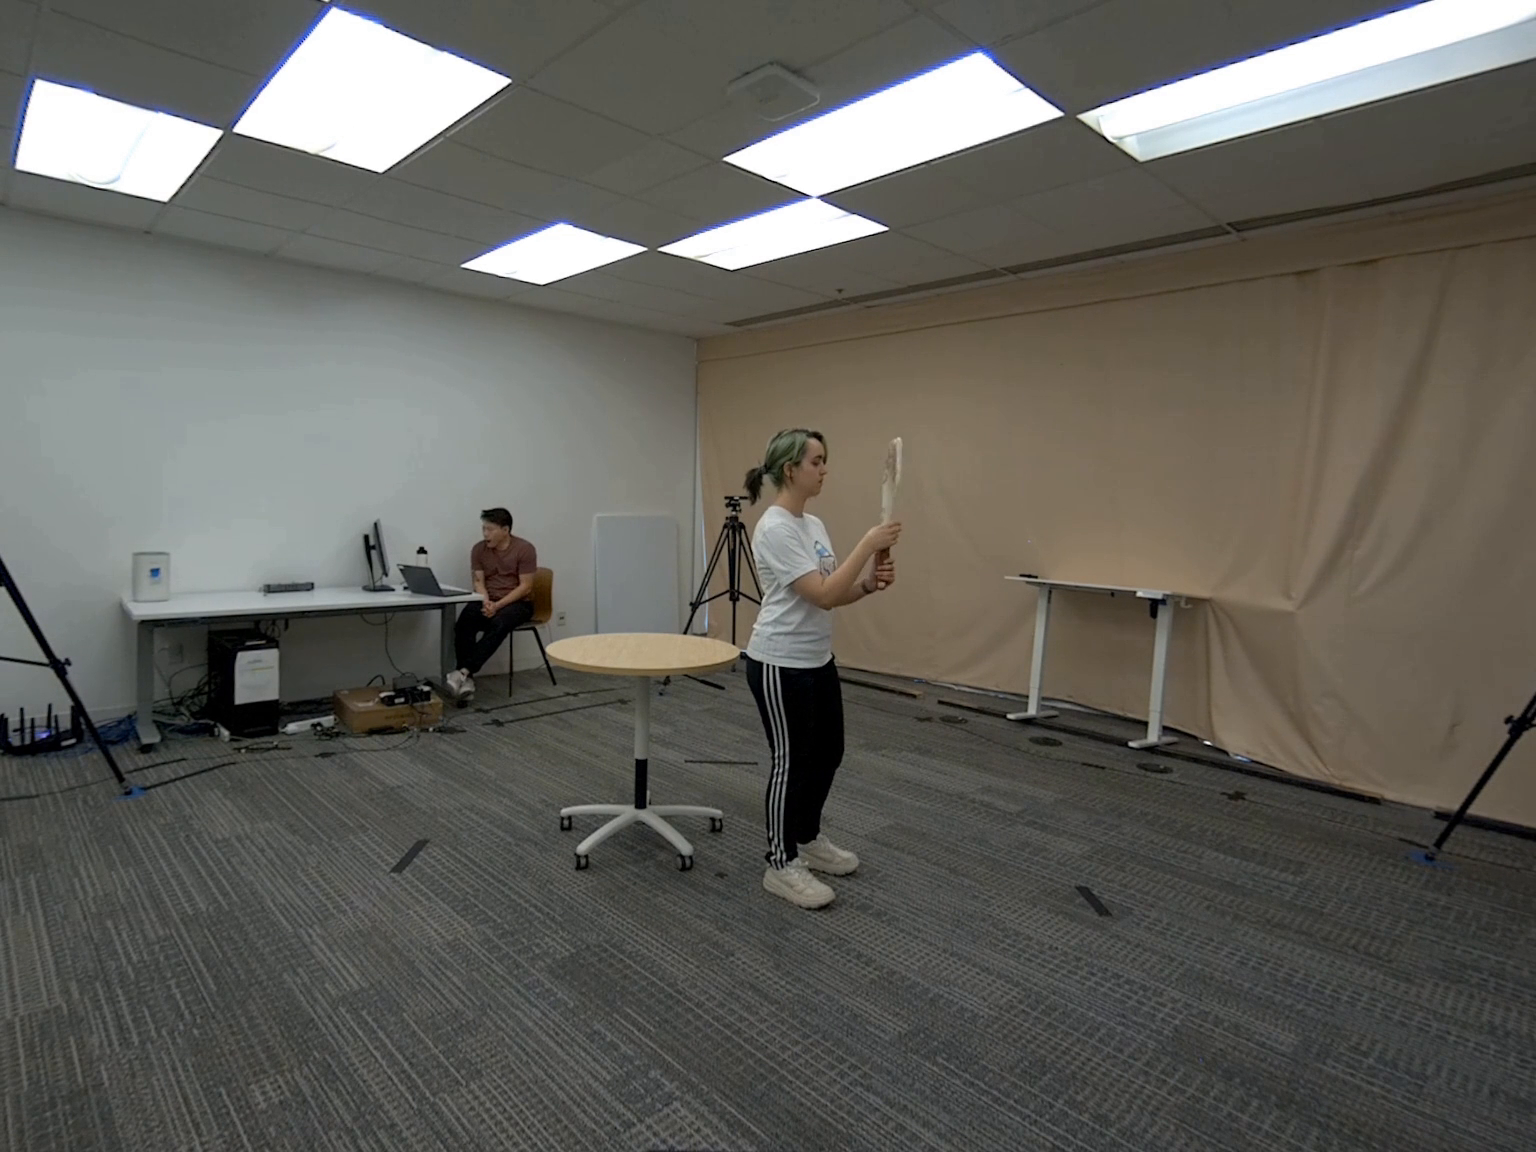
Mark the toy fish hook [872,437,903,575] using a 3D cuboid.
[{"bbox_3d":[0.397,-0.206,2.782,0.048,0.505,0.224,5,4,4],"label":"toy fish hook"}]
